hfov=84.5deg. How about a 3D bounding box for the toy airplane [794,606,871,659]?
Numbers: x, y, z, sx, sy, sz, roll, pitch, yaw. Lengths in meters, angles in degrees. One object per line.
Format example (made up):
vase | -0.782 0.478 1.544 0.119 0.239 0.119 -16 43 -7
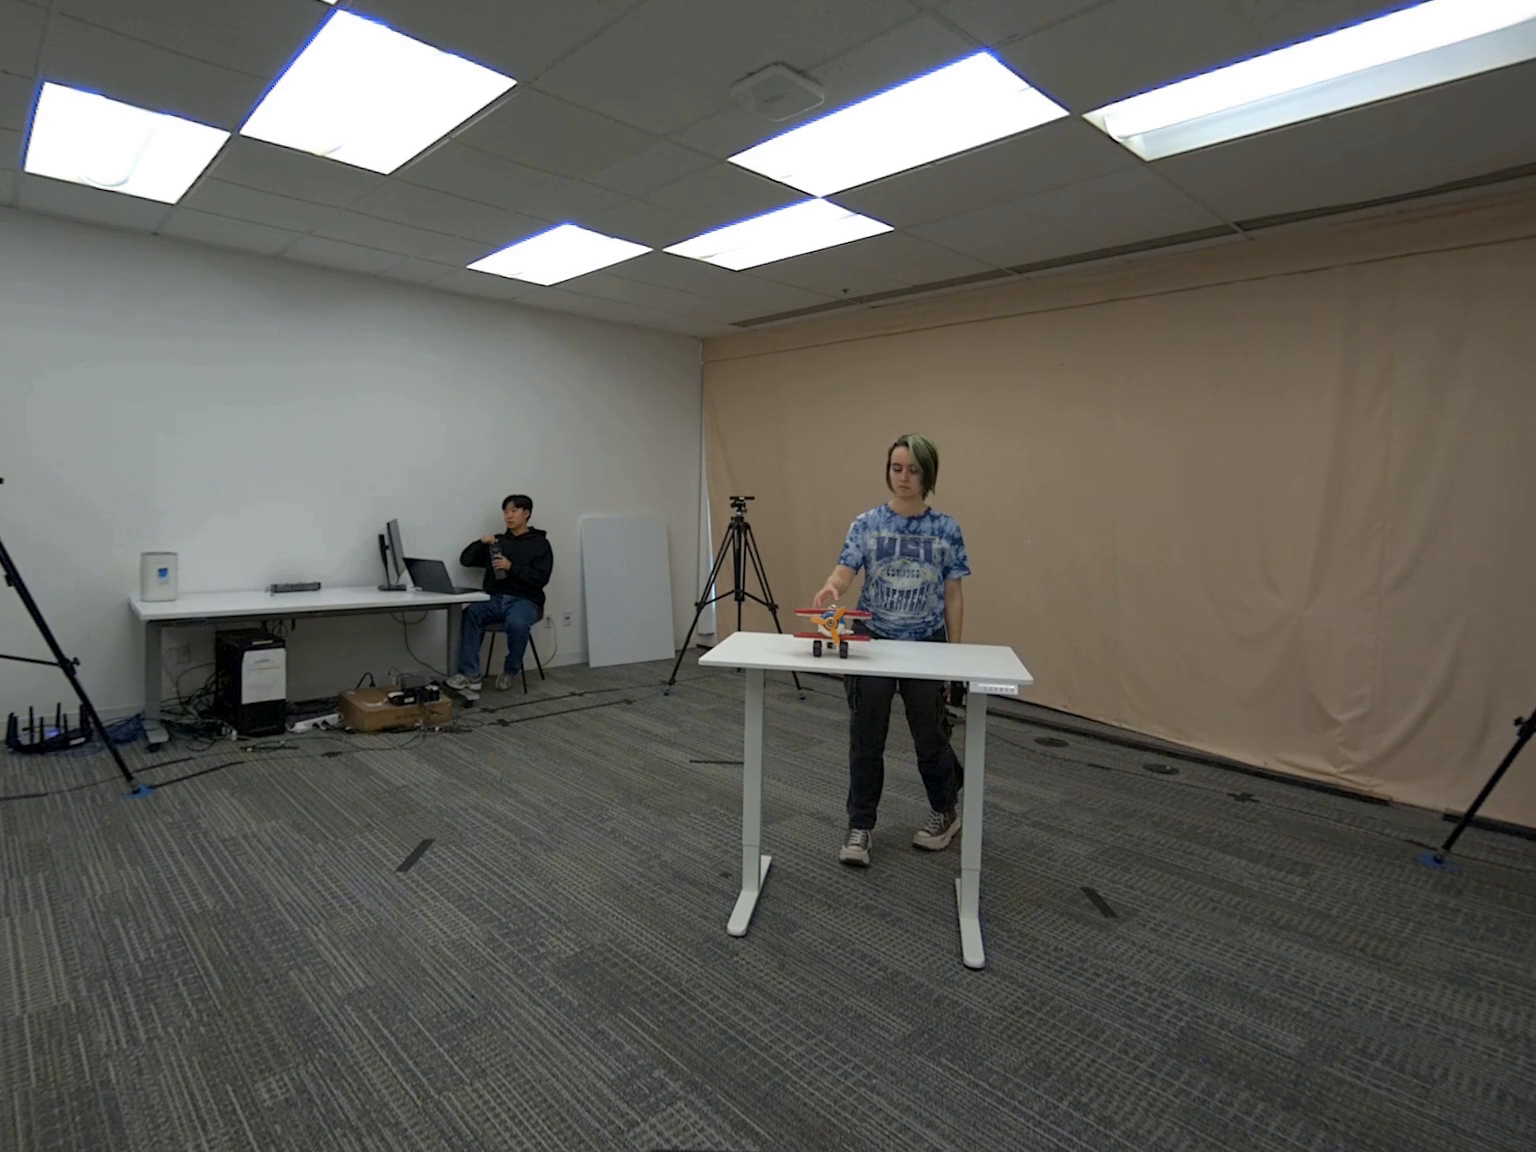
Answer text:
toy airplane | 0.195 0.180 2.808 0.247 0.156 0.264 0 6 -19
